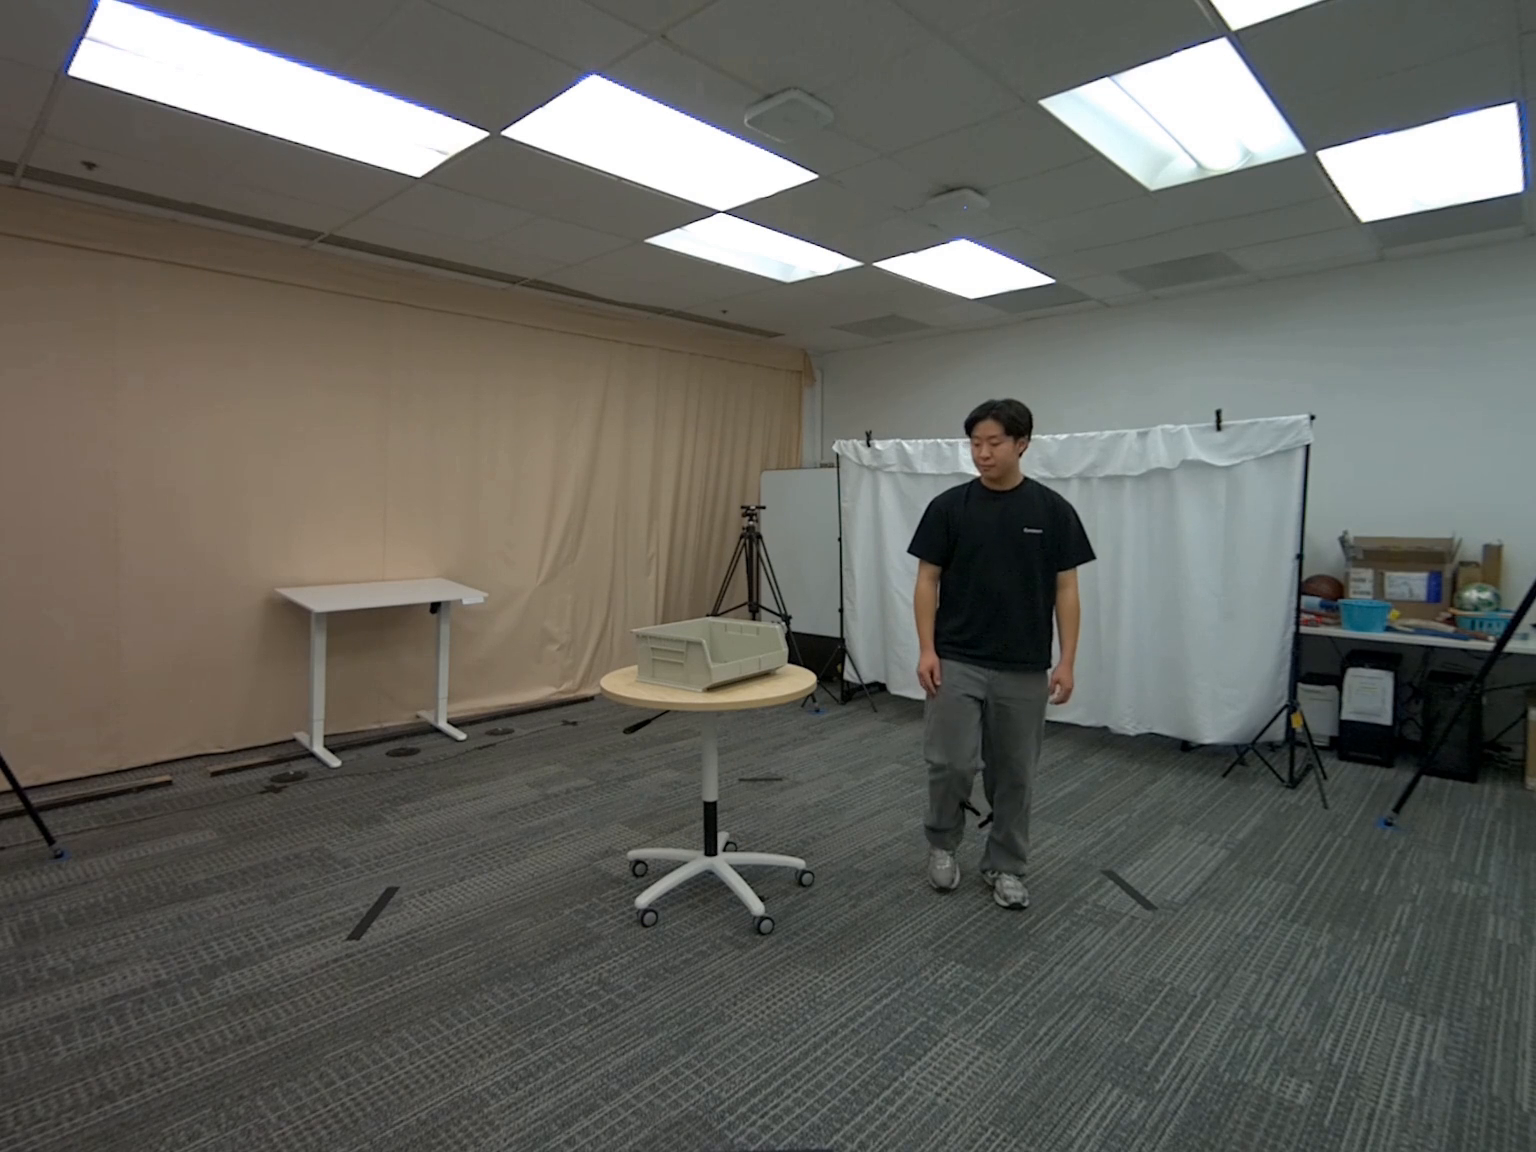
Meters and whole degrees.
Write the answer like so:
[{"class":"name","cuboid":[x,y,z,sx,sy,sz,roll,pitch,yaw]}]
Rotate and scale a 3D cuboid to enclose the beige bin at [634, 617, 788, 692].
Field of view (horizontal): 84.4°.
[{"class":"beige bin","cuboid":[-0.200,0.277,2.993,0.389,0.188,0.410,1,5,39]}]
